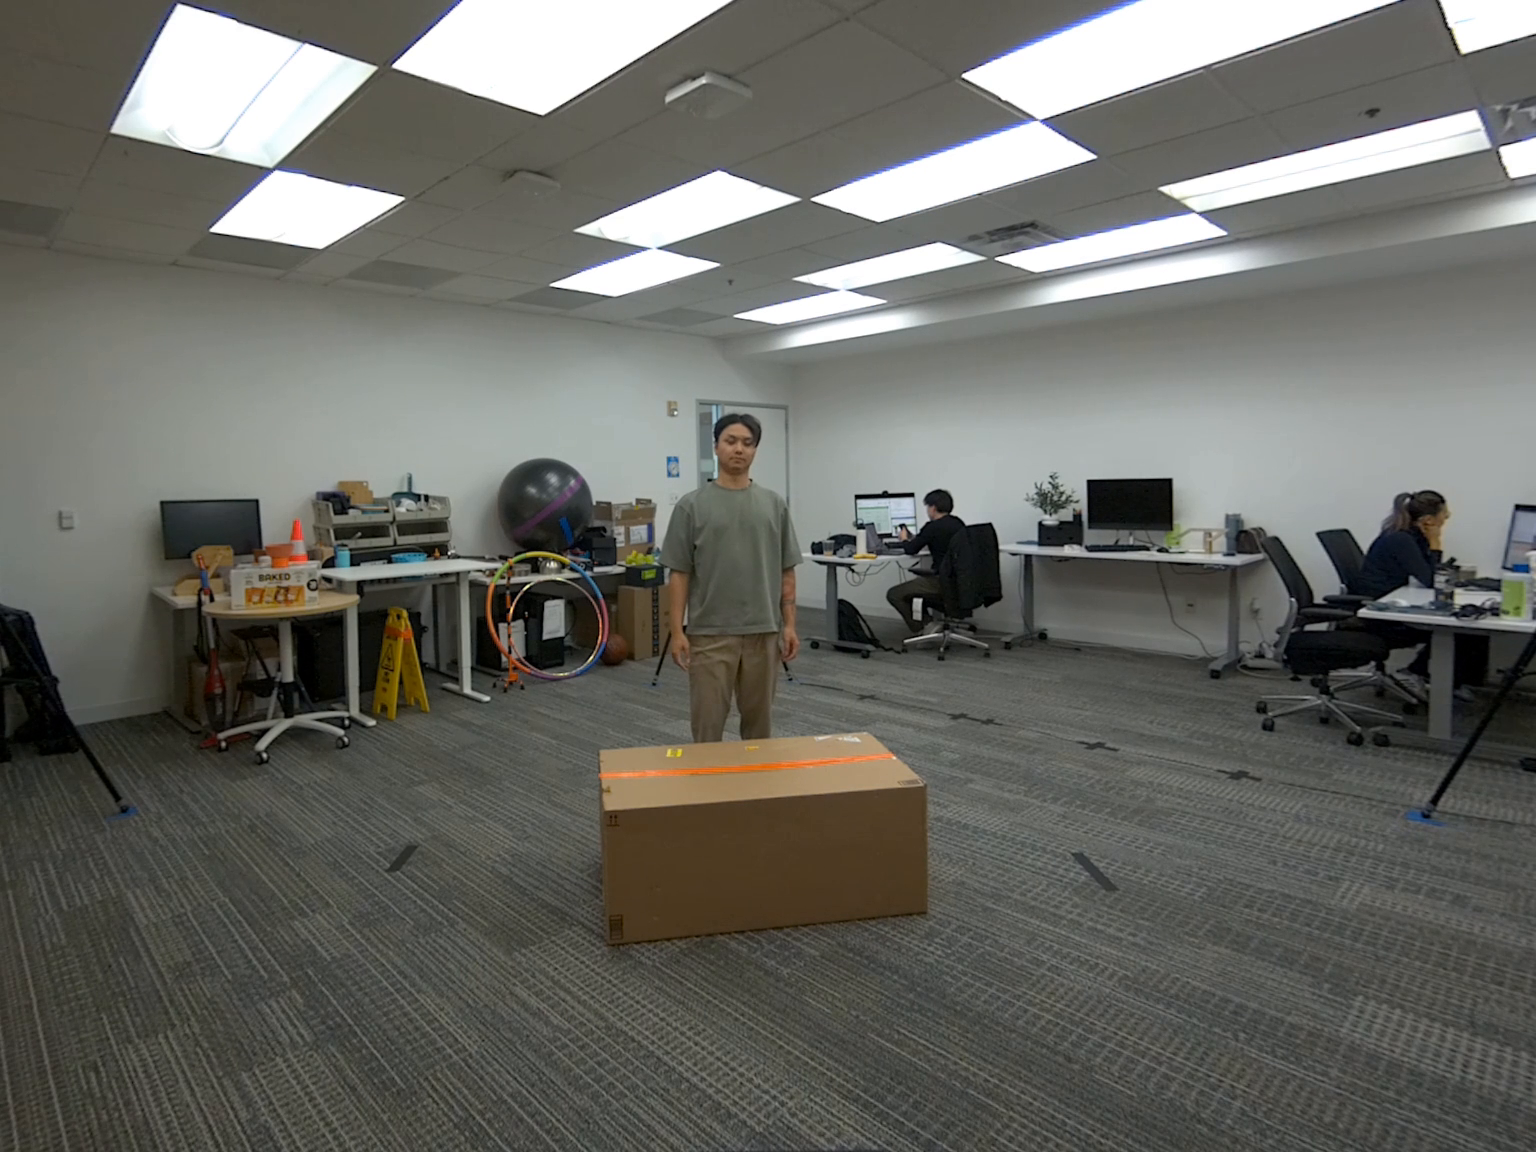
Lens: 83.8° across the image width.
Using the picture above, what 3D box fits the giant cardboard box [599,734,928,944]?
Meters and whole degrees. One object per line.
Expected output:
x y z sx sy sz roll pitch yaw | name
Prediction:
-0.051 0.851 2.912 1.016 0.424 0.585 -2 5 -10 | giant cardboard box
